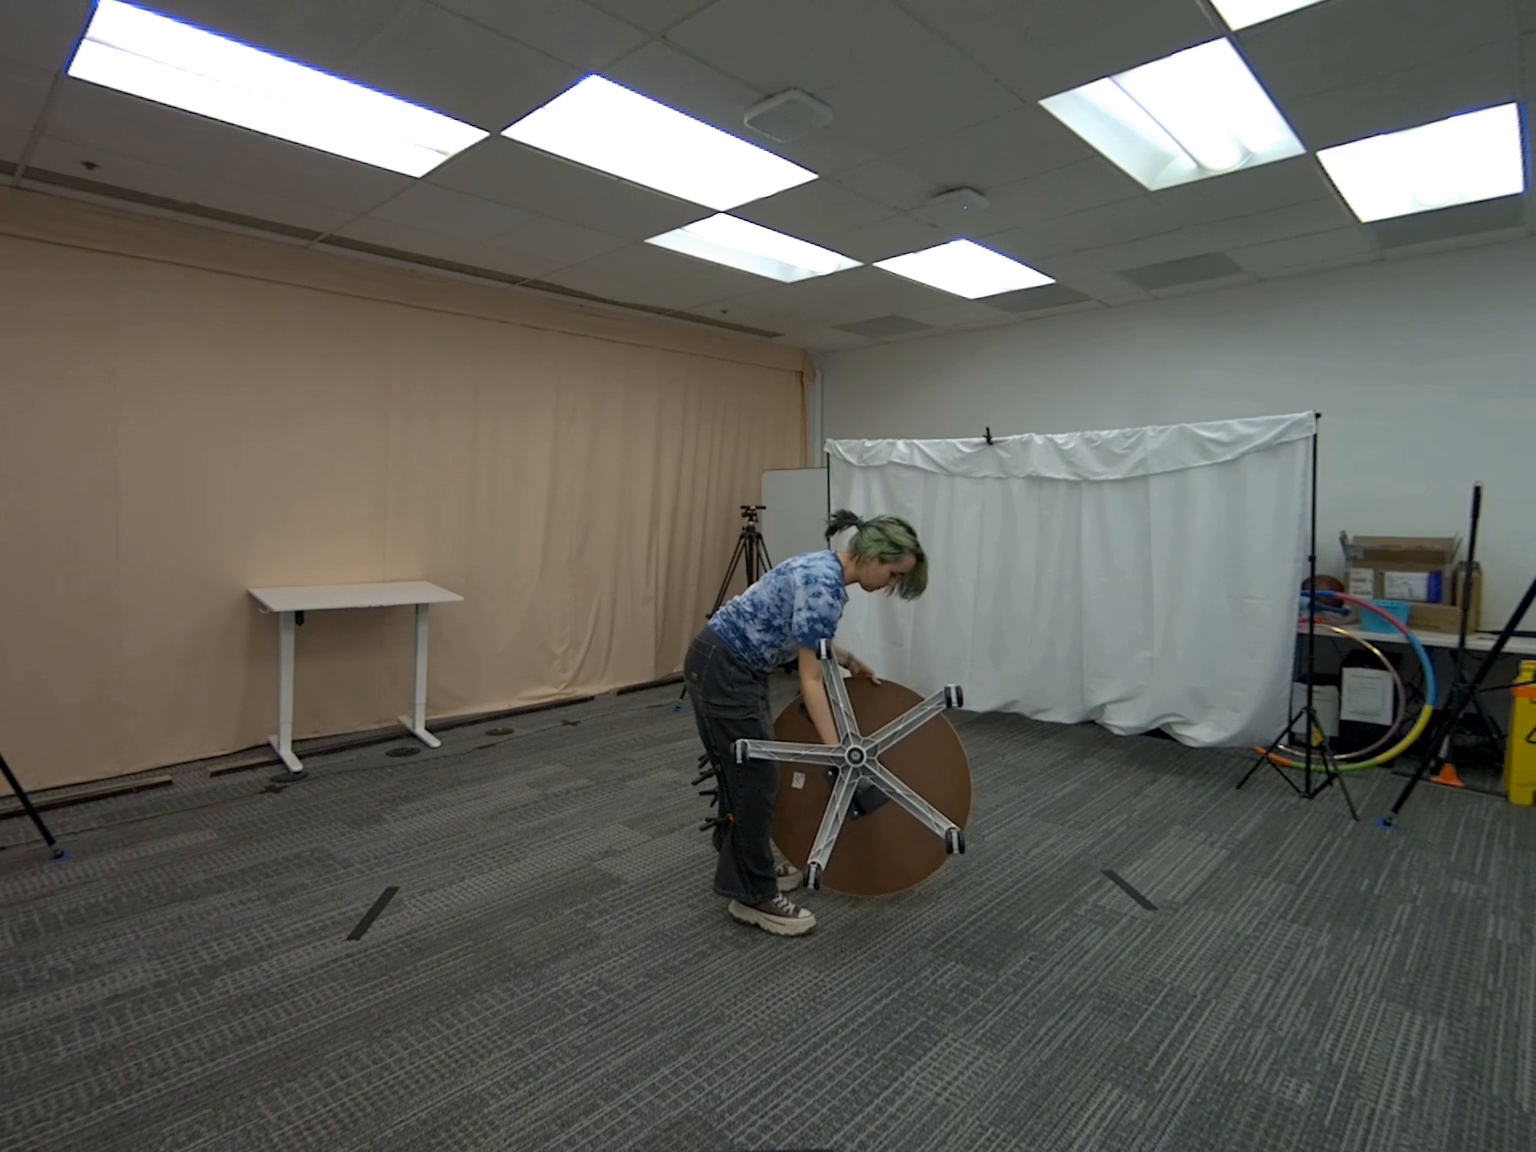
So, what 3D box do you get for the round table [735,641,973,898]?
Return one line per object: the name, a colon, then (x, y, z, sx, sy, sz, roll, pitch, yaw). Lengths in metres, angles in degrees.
round table: (0.287, 0.626, 2.690, 0.772, 0.772, 0.778, 1, -19, 8)
